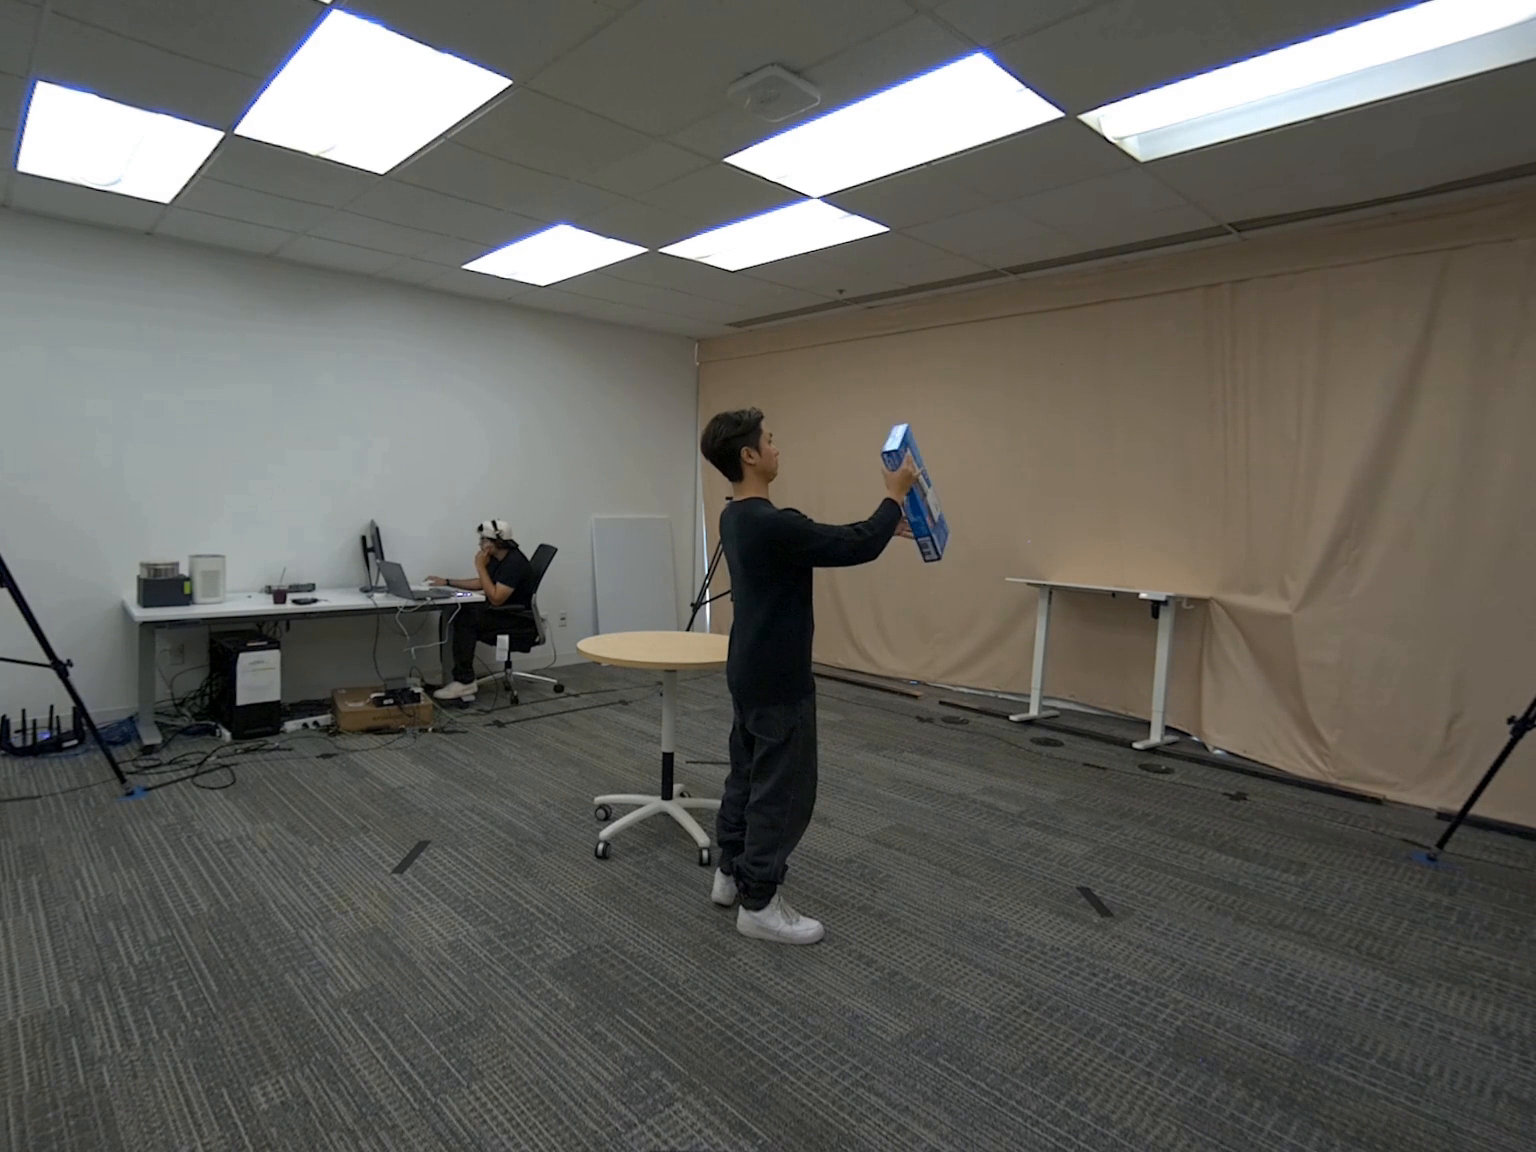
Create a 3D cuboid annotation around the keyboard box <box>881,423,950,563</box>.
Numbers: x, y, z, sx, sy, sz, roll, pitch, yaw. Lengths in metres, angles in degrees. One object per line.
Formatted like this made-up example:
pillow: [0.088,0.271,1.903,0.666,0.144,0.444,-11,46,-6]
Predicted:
keyboard box: [0.480,-0.269,2.772,0.060,0.427,0.177,-11,30,31]
